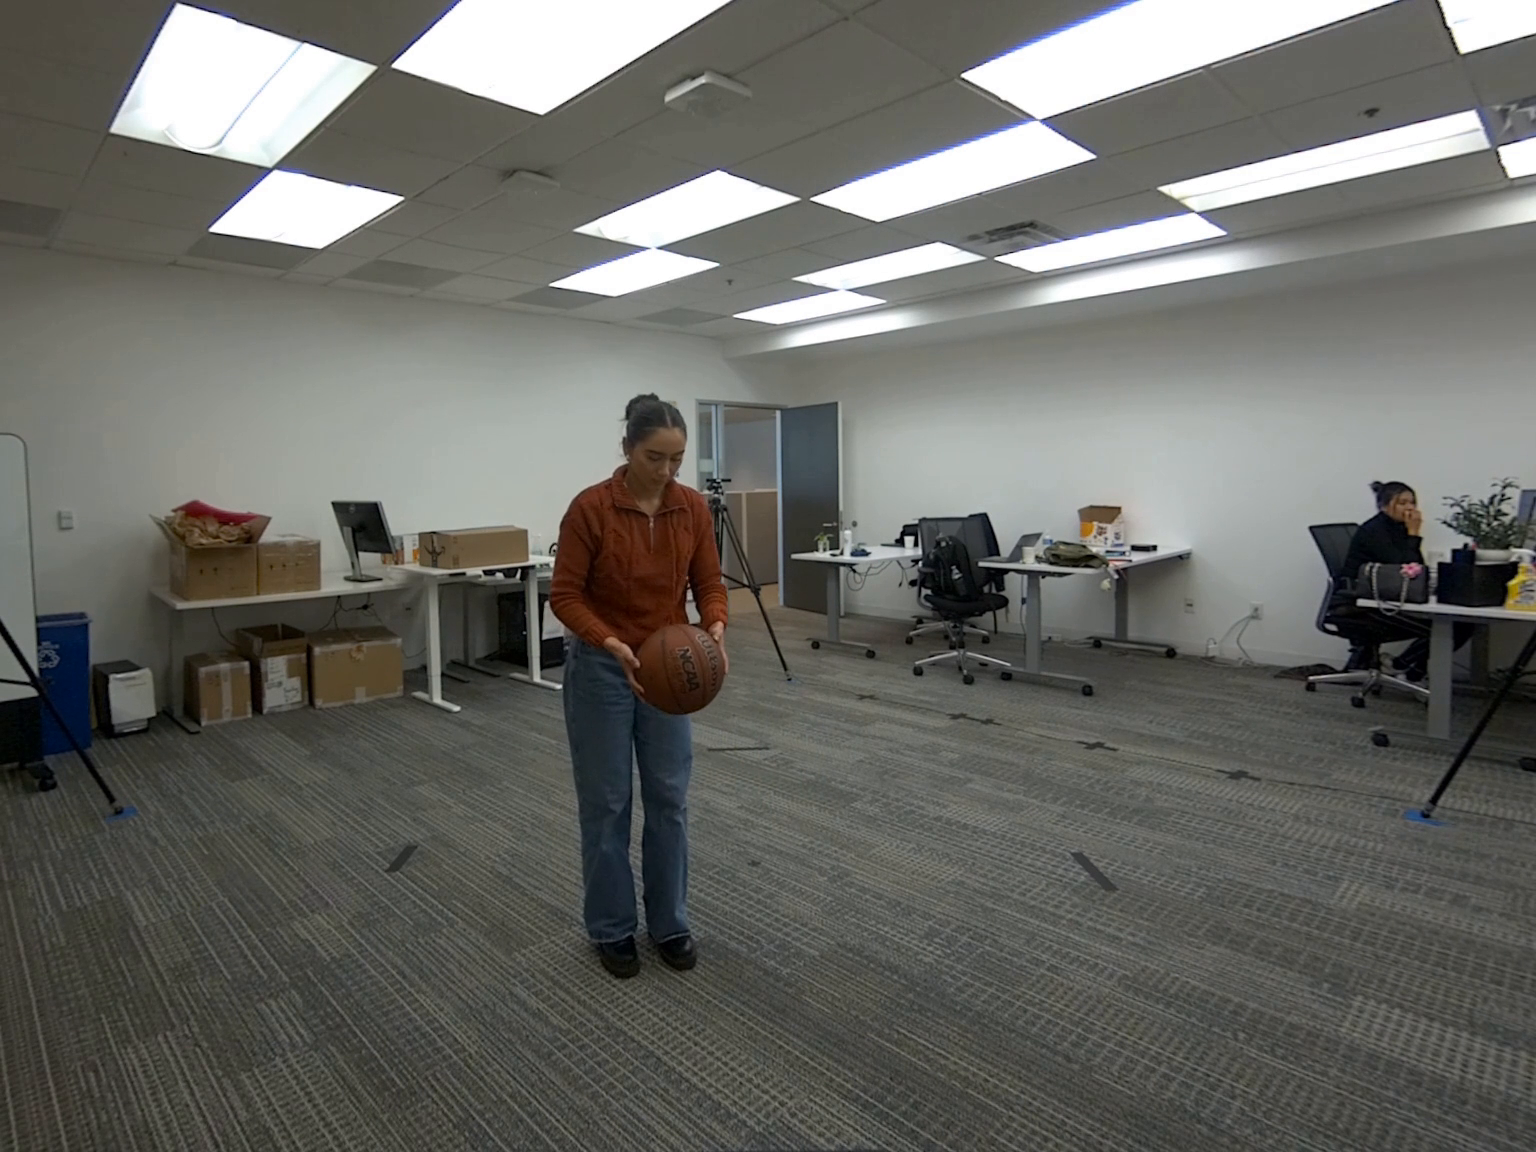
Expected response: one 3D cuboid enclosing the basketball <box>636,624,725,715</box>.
[{"bbox_3d":[-0.234,0.250,2.241,0.236,0.235,0.237,-1,5,-2],"label":"basketball"}]
